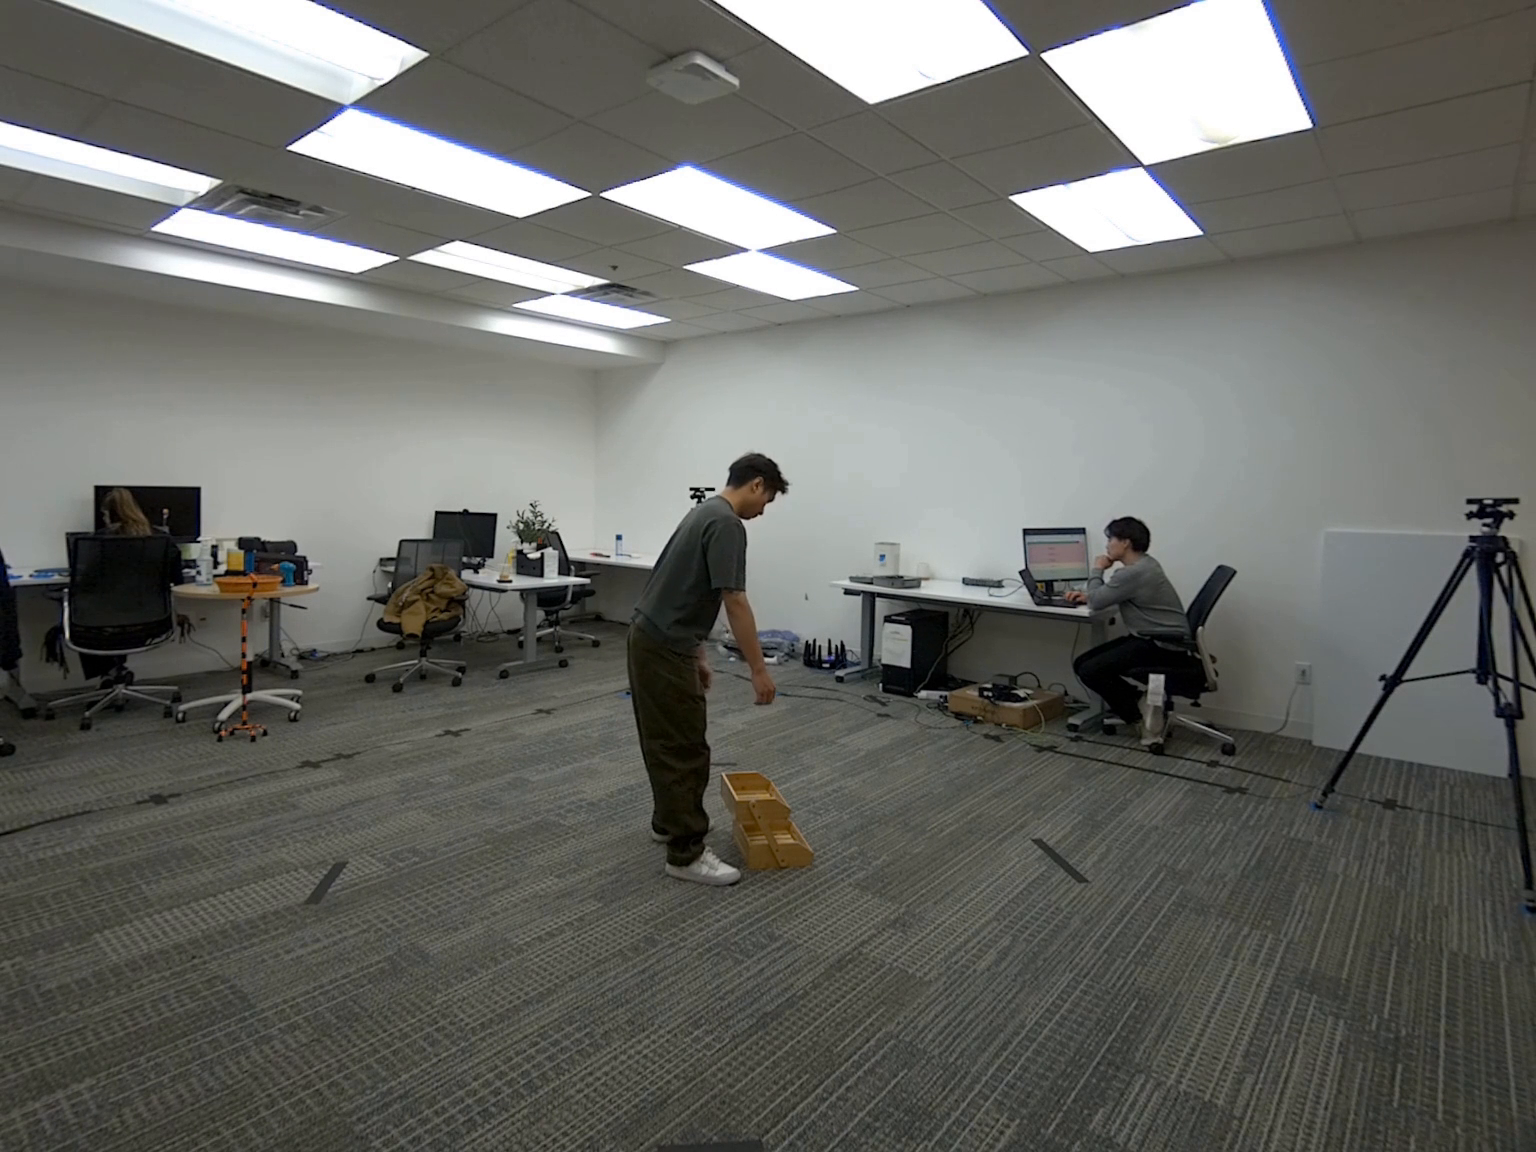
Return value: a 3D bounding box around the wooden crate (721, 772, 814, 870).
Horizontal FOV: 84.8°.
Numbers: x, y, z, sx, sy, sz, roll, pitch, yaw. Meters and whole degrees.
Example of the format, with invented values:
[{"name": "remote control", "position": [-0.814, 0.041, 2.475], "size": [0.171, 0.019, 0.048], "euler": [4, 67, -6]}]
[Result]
[{"name": "wooden crate", "position": [-0.009, 0.925, 3.266], "size": [0.298, 0.272, 0.330], "euler": [1, 5, -13]}]
